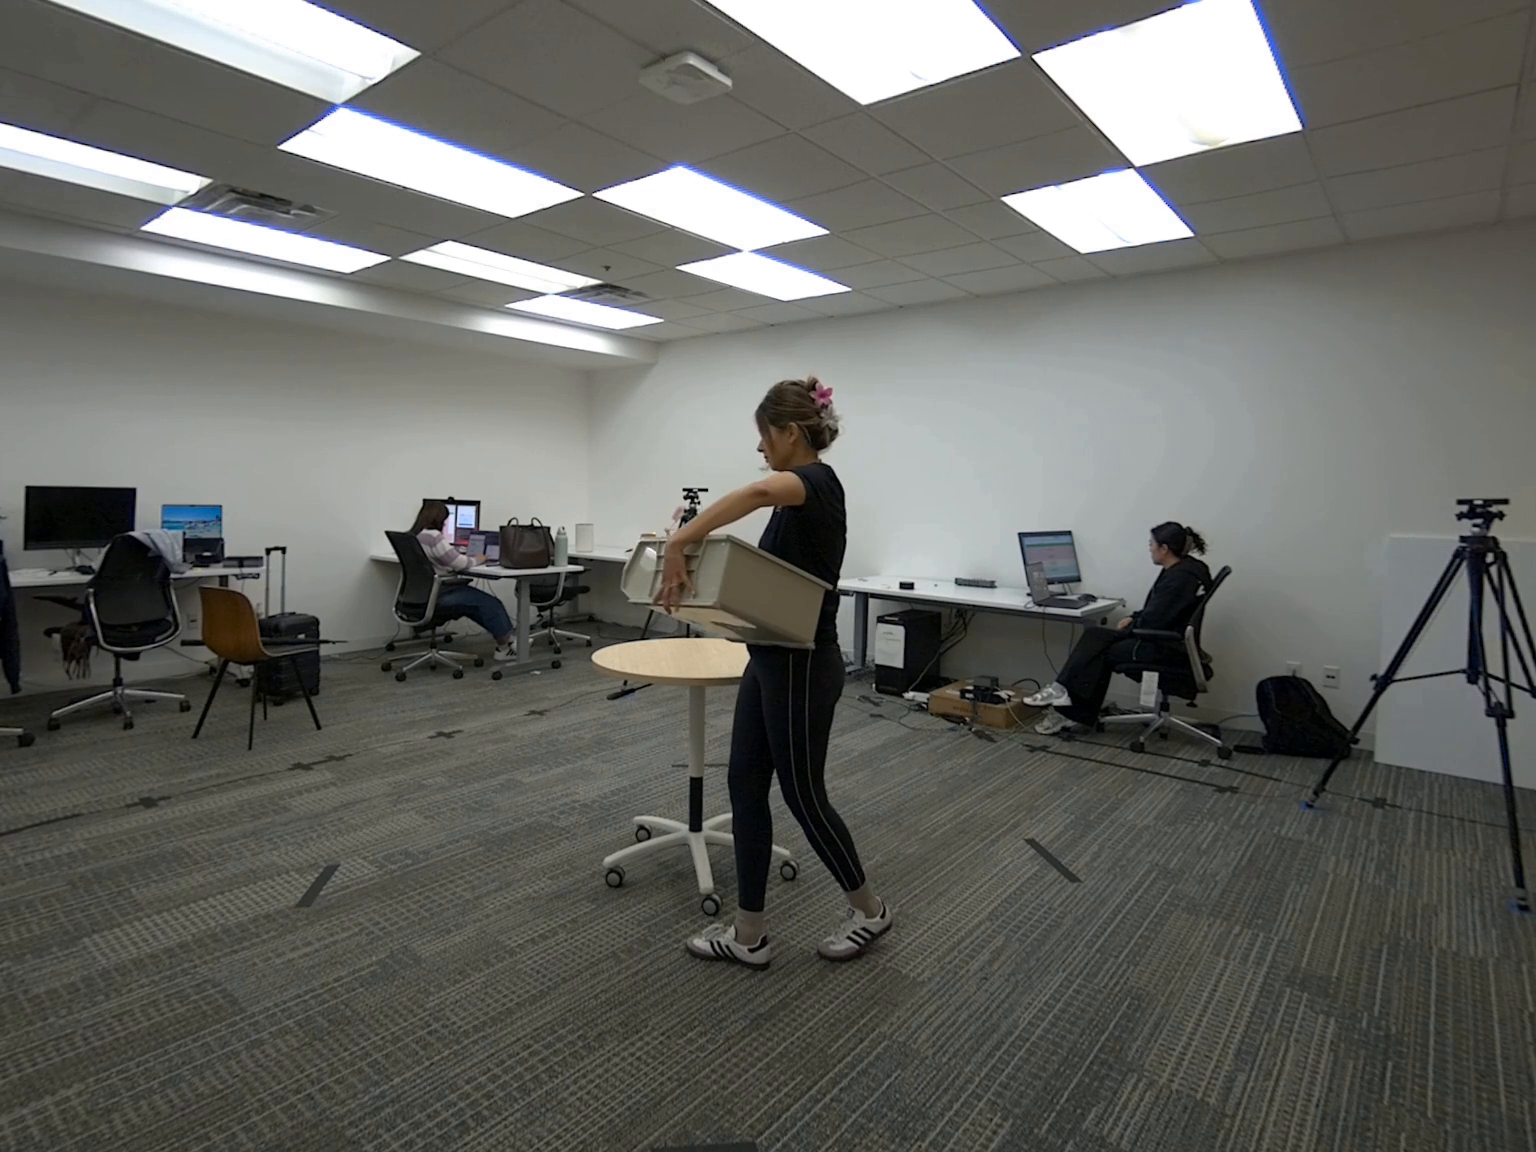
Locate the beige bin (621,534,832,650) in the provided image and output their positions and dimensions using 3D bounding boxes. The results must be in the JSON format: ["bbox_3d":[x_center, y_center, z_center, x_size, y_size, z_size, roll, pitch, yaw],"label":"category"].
[{"bbox_3d":[-0.120,0.047,2.286,0.389,0.191,0.405,1,-18,43],"label":"beige bin"}]
